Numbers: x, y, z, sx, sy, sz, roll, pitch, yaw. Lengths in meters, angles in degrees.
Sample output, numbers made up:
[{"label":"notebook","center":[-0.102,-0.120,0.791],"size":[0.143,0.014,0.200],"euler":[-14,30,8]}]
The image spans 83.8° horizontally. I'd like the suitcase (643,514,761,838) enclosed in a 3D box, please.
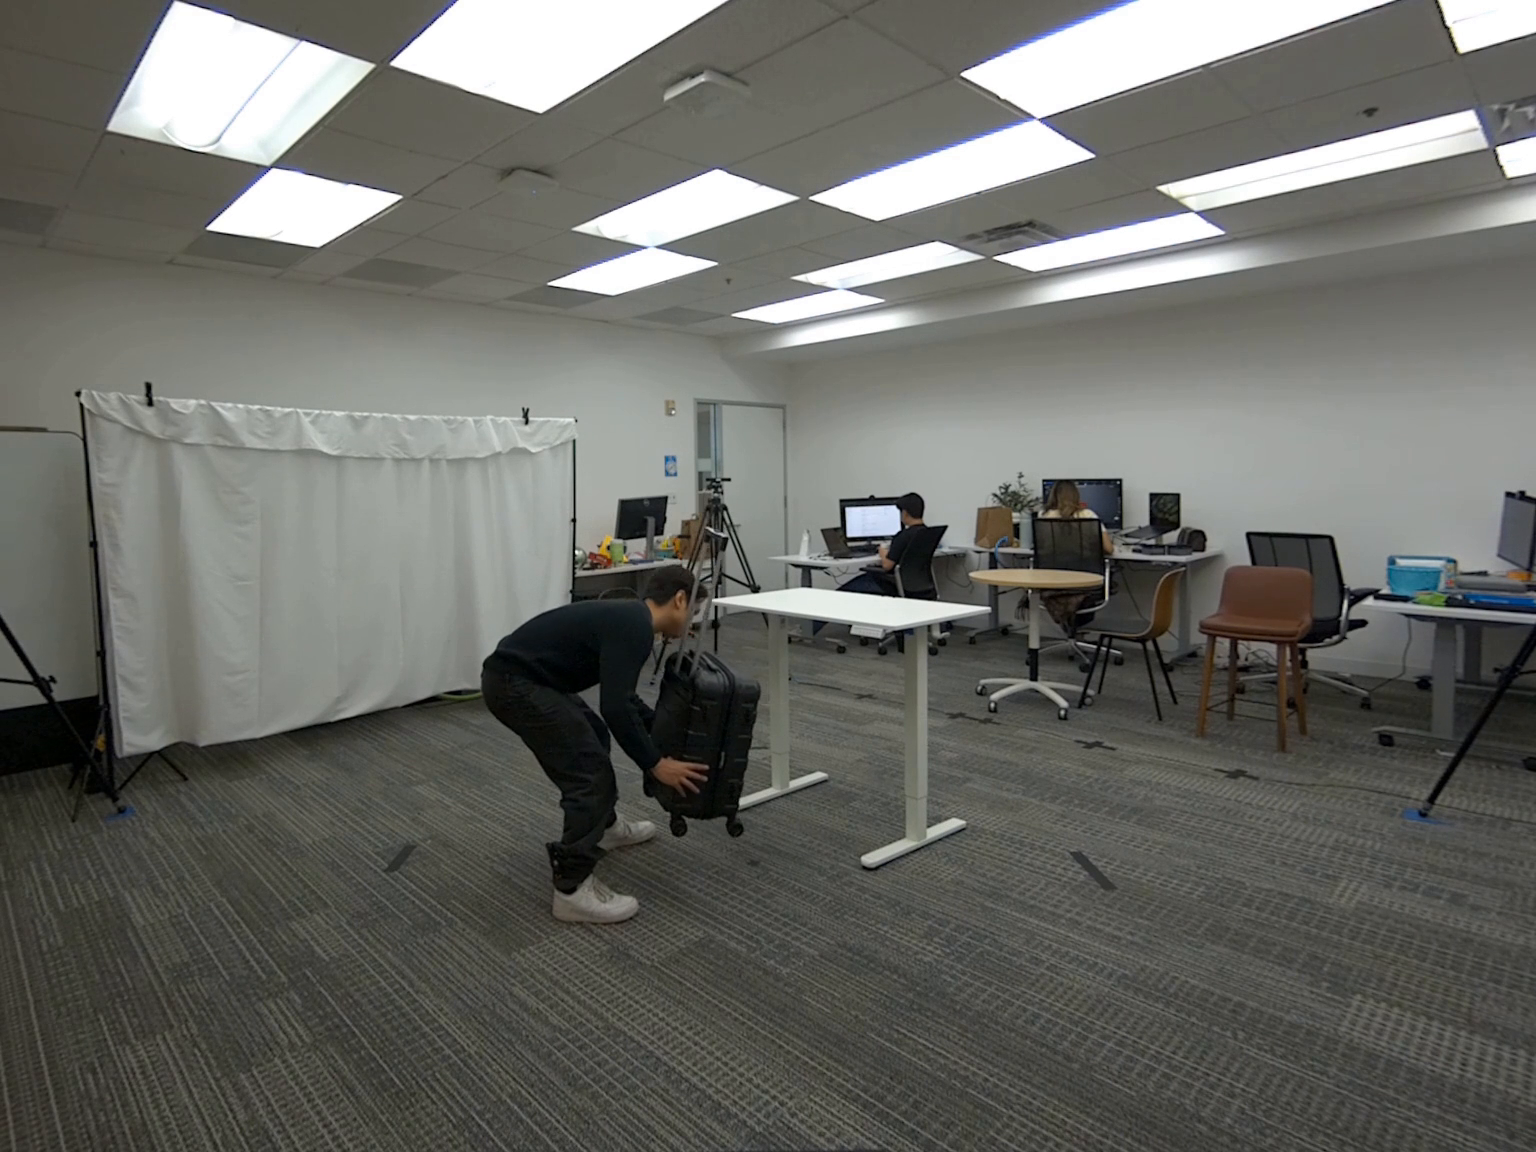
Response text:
[{"label":"suitcase","center":[-0.183,0.347,2.889],"size":[0.251,0.975,0.394],"euler":[11,5,-23]}]
